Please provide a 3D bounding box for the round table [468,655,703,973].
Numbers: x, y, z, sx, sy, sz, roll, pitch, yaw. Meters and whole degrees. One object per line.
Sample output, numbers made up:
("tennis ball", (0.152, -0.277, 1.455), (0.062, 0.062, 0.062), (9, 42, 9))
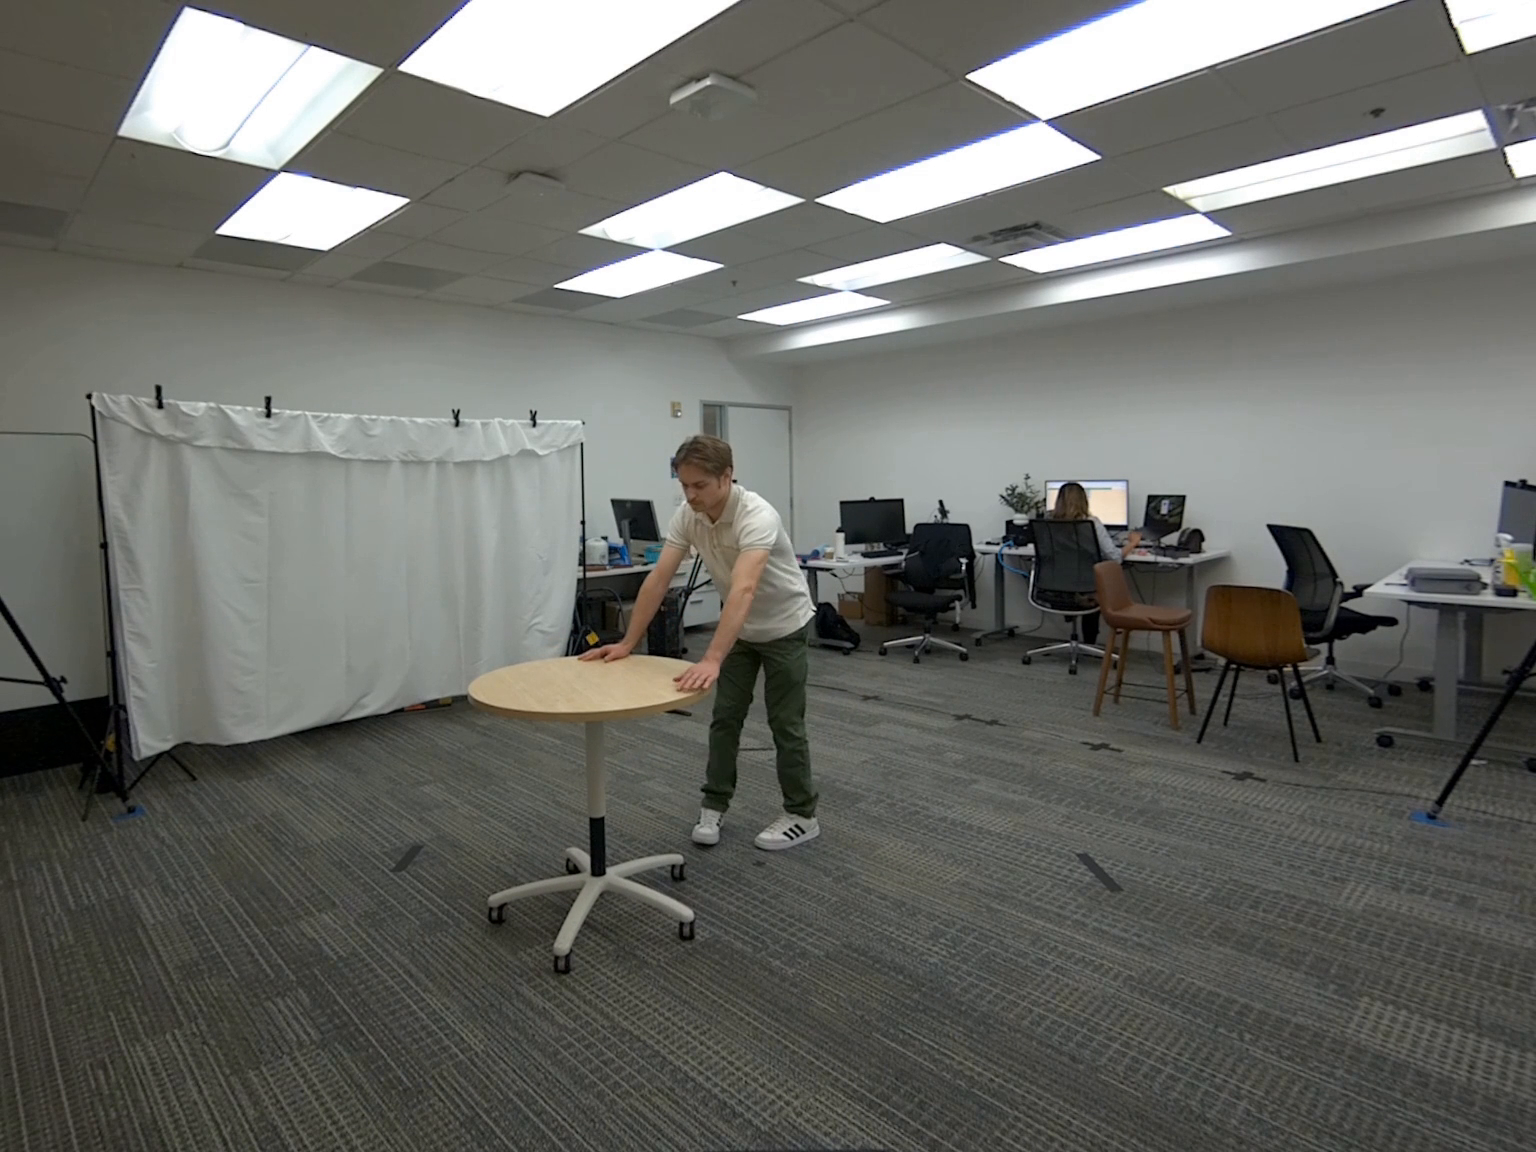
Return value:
("round table", (-0.548, 0.716, 2.735), (0.763, 0.790, 0.768), (-1, 5, -2))
